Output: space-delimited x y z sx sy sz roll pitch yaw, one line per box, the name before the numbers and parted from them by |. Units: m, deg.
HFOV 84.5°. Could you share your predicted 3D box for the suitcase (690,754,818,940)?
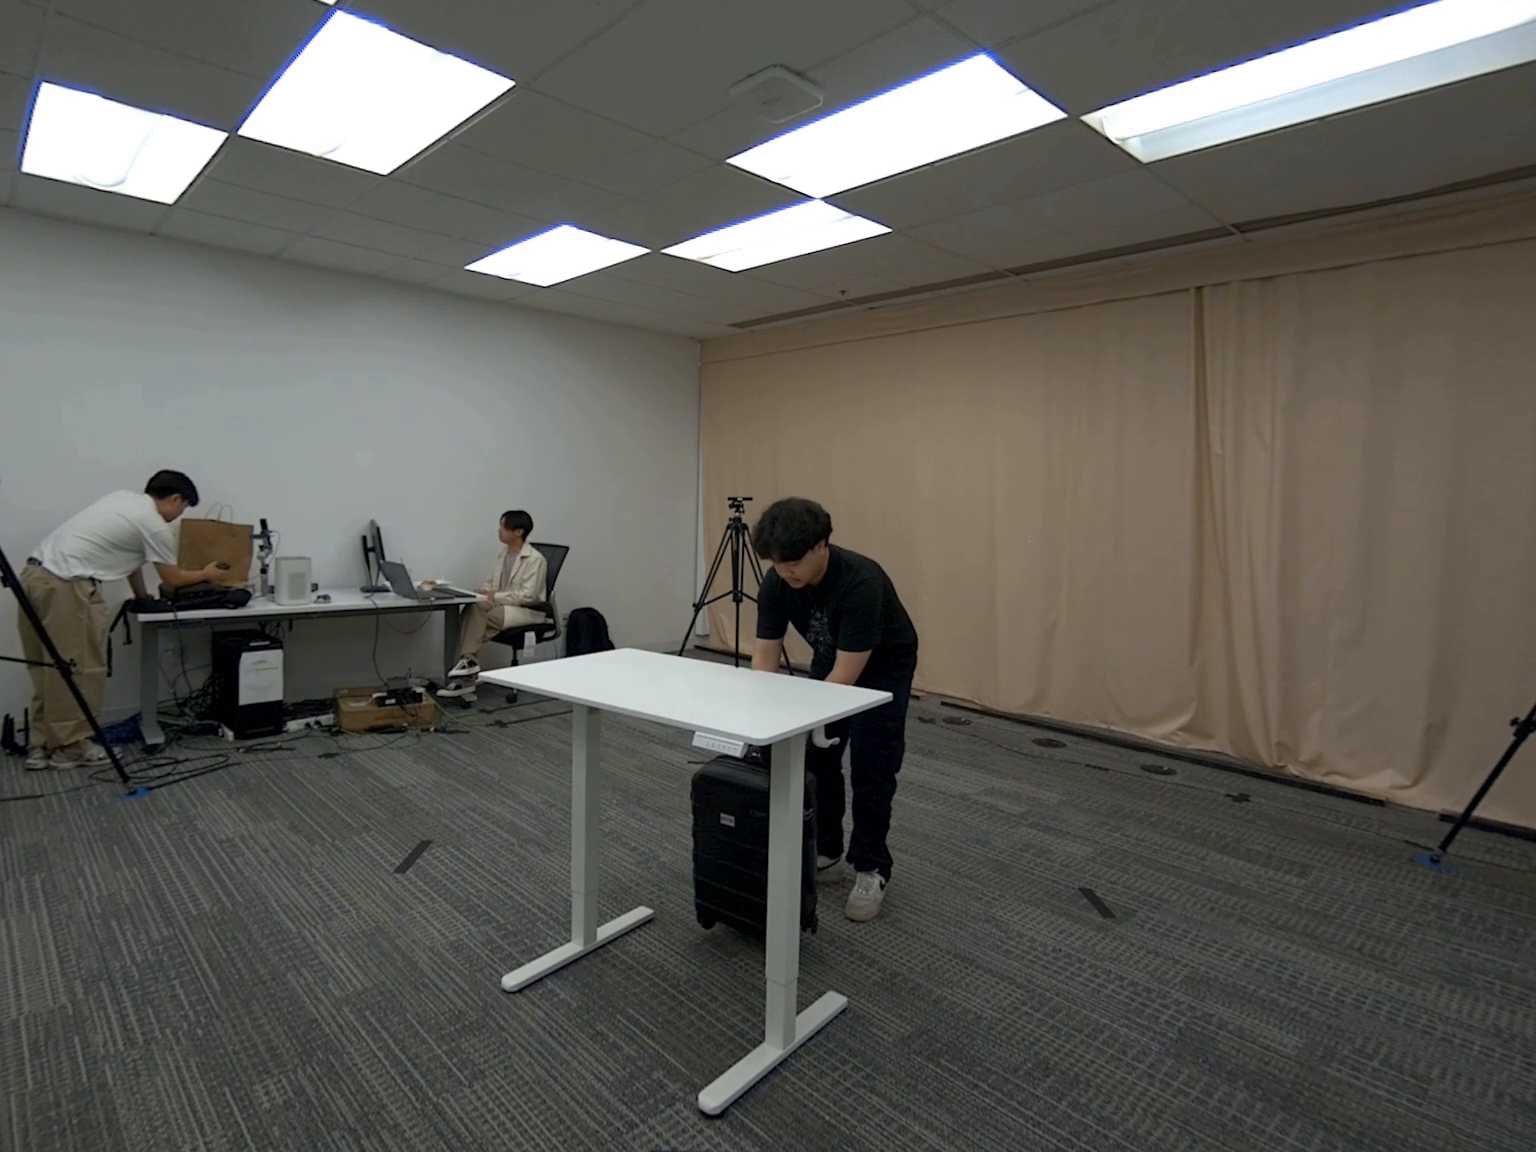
suitcase | -0.050 0.854 2.637 0.384 0.546 0.244 4 10 36
